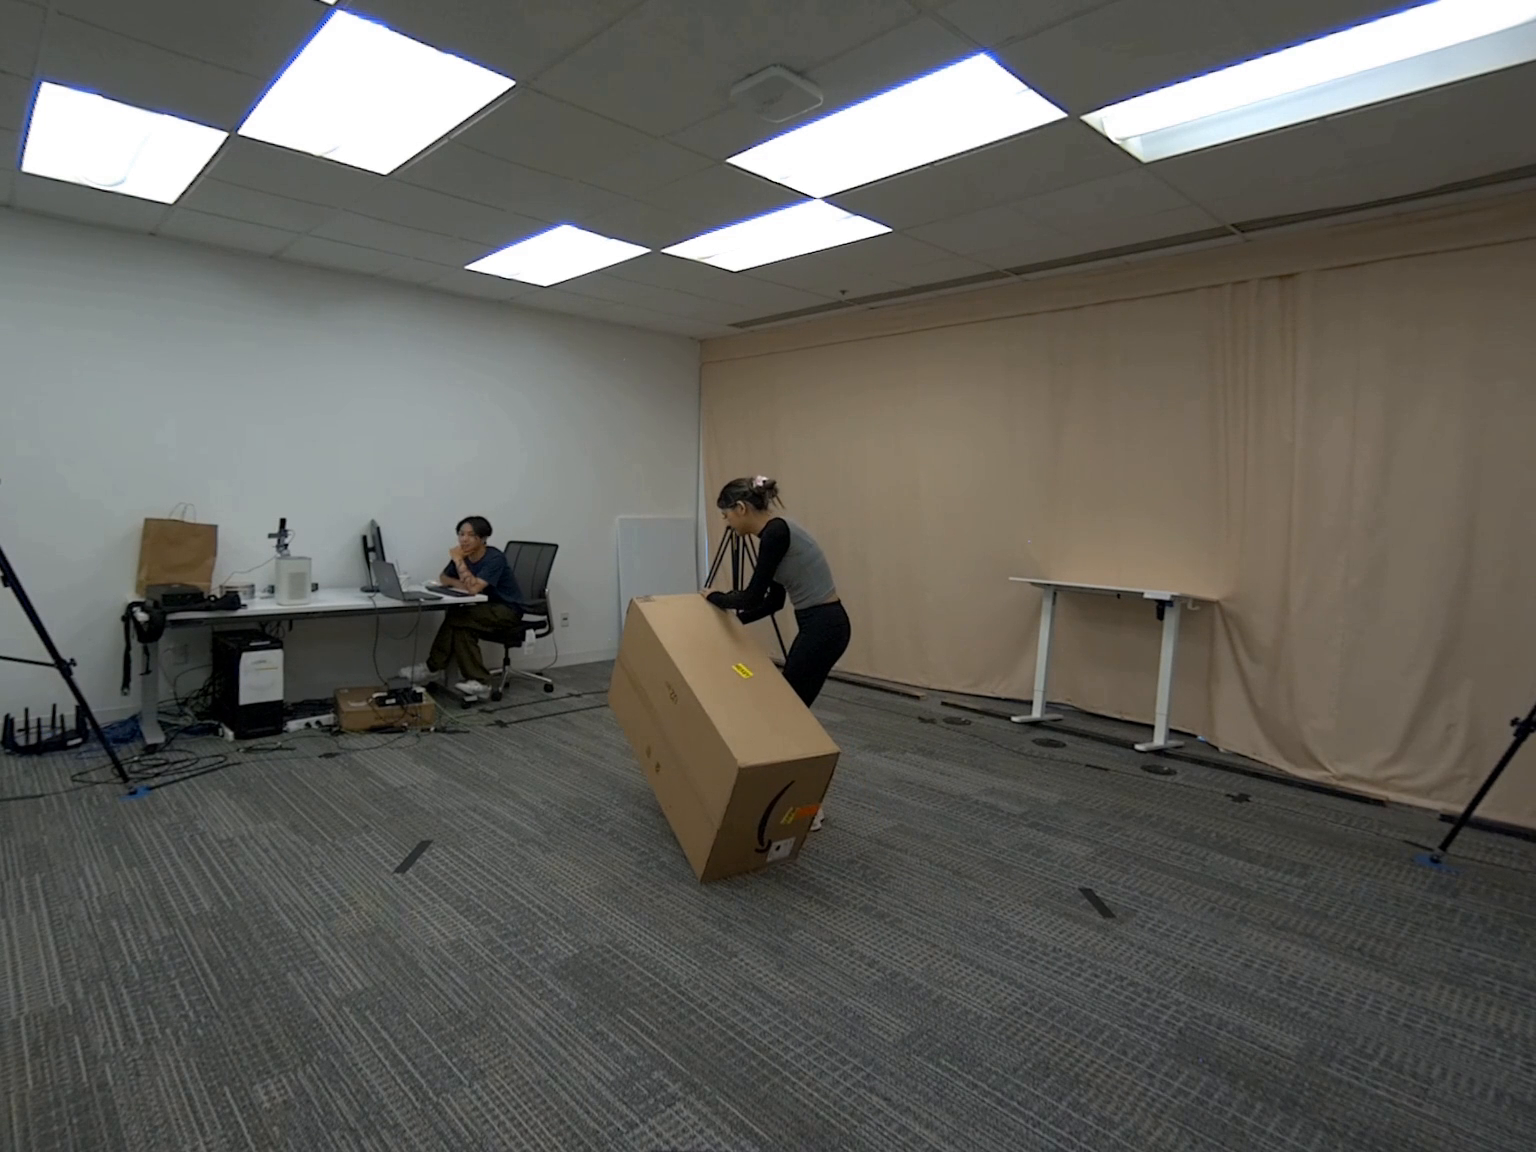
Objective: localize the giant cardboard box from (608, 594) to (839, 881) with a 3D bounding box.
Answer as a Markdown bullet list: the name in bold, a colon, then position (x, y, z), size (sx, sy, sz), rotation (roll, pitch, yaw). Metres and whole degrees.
- **giant cardboard box**: position (-0.237, 0.602, 3.383), size (0.437, 0.577, 1.060), rotation (0, 32, -33)
